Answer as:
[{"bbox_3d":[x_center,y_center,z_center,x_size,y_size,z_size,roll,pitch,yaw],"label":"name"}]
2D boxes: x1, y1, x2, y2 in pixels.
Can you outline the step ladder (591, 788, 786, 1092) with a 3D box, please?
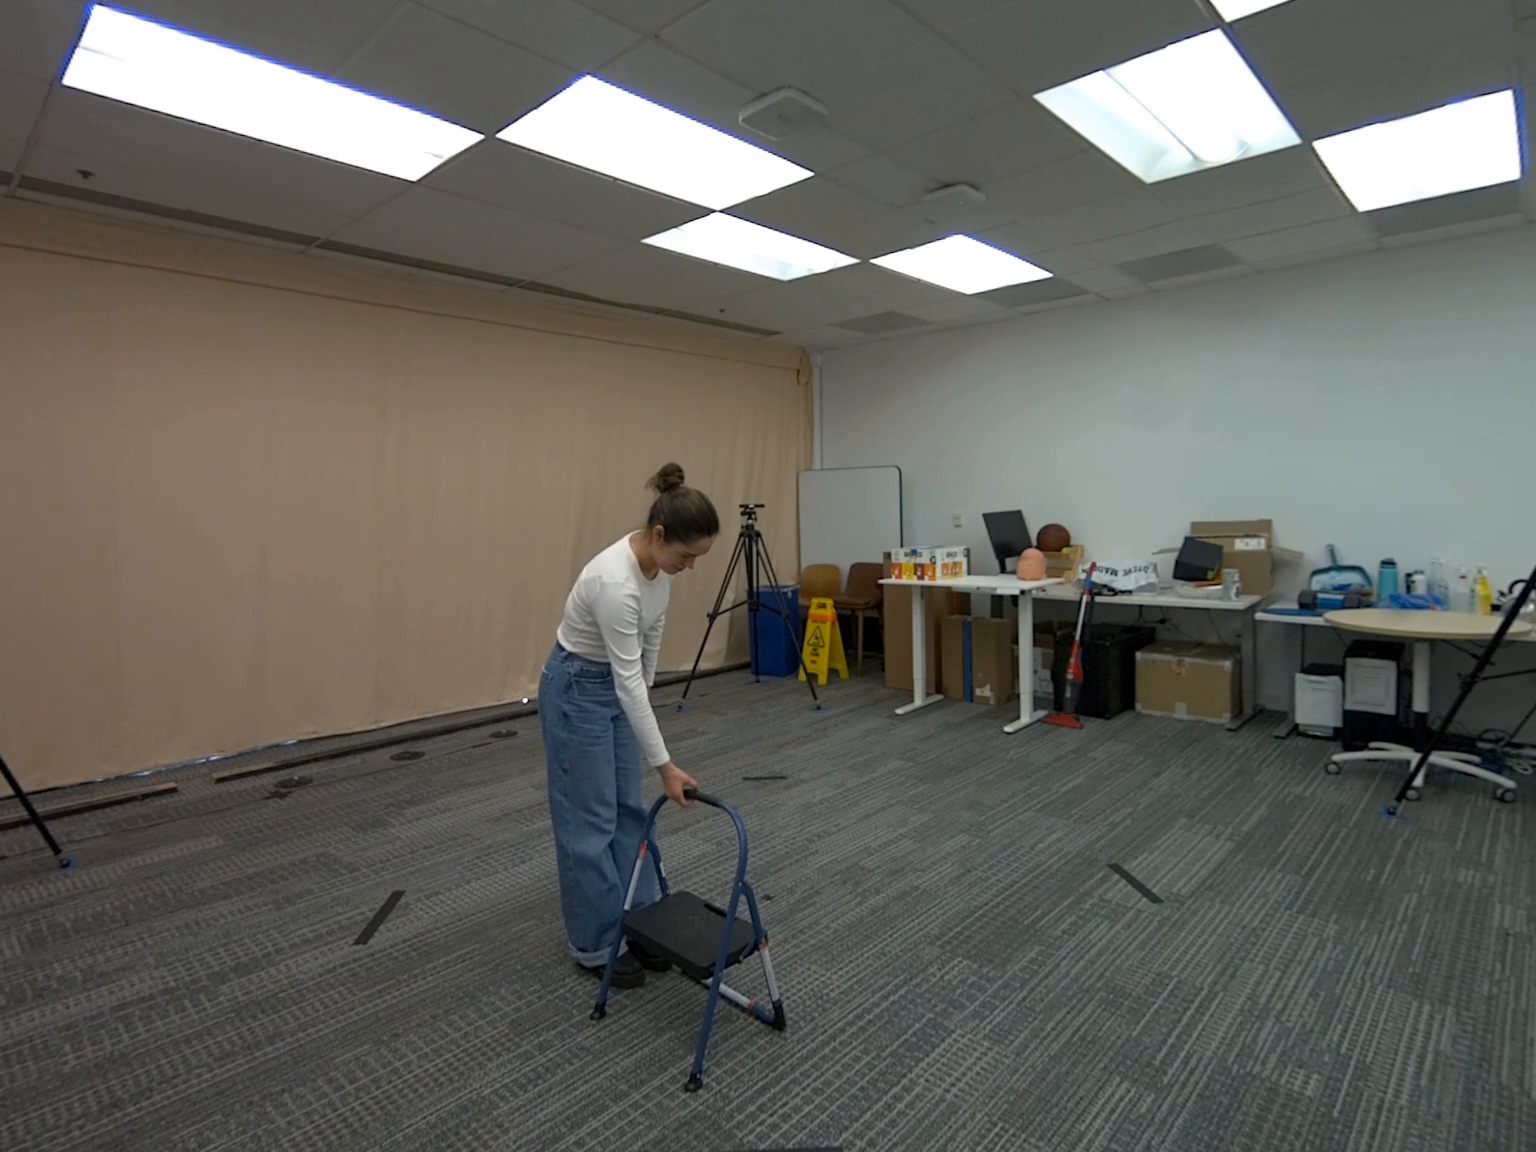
[{"bbox_3d":[-0.214,0.906,2.246,0.445,0.604,0.339,3,5,45],"label":"step ladder"}]
